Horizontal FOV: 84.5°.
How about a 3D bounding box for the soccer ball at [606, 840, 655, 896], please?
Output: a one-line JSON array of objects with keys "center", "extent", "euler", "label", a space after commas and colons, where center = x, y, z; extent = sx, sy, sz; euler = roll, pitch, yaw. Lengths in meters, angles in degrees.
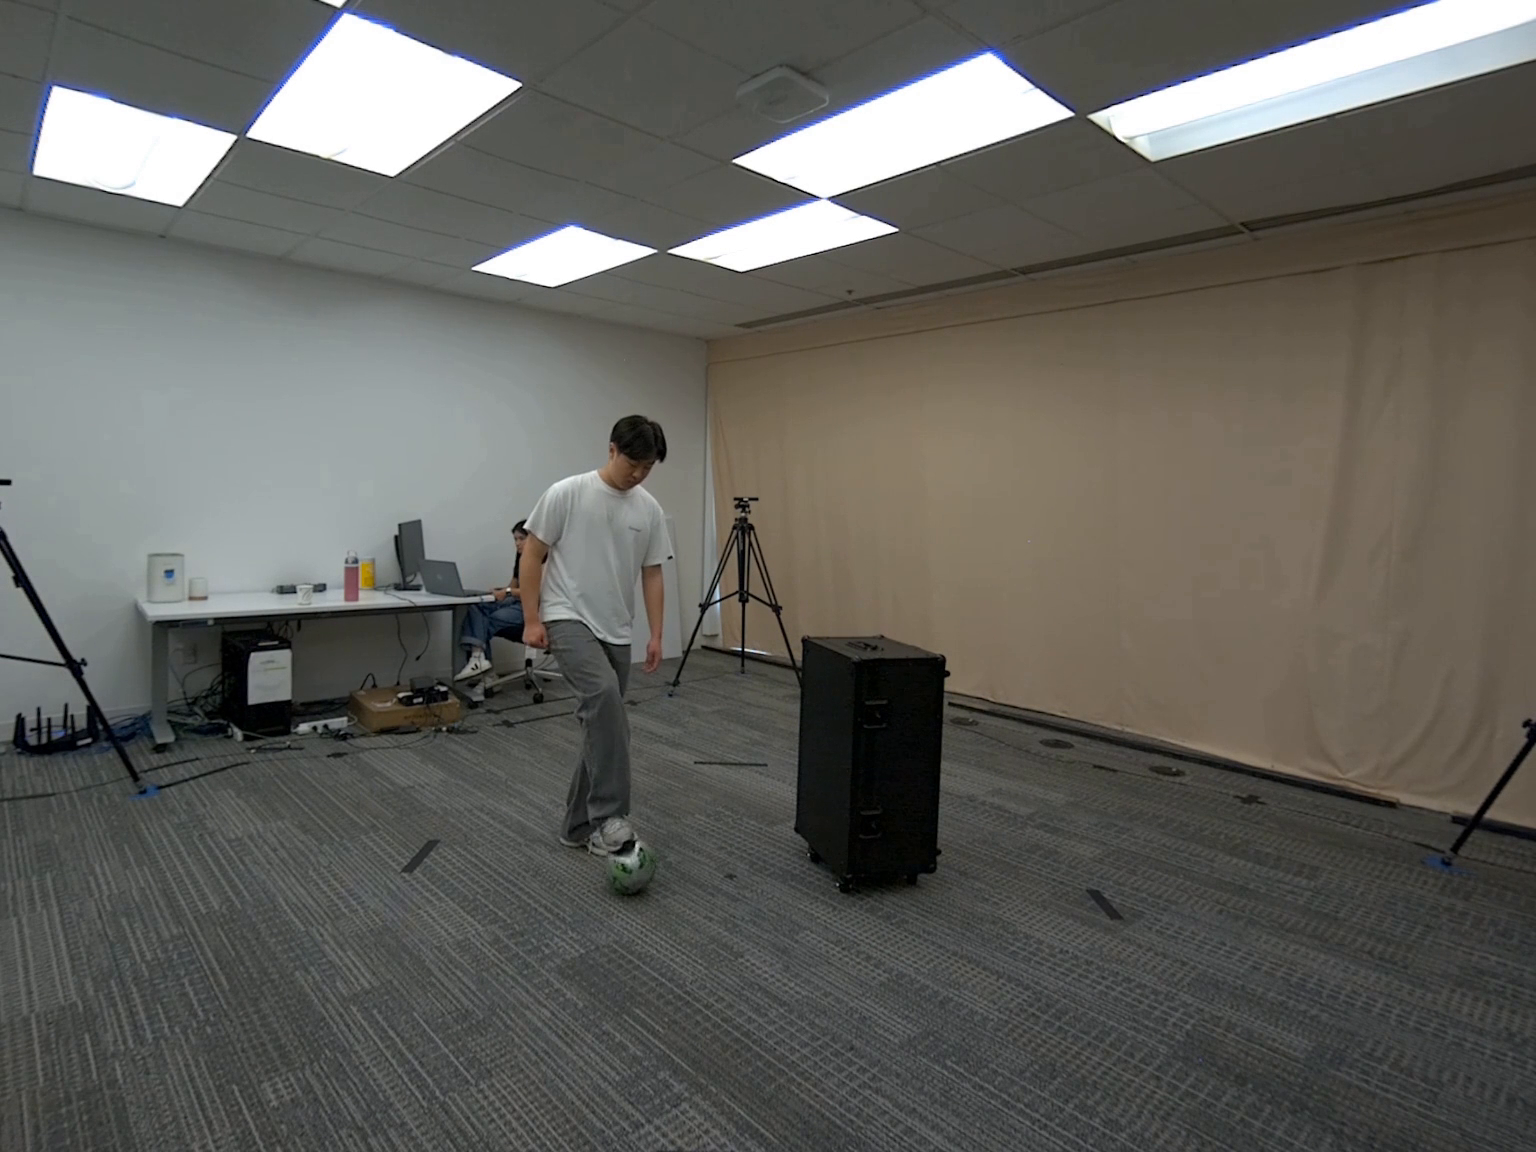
[{"center": [-0.494, 1.020, 2.972], "extent": [0.187, 0.187, 0.188], "euler": [1, 4, -1], "label": "soccer ball"}]
